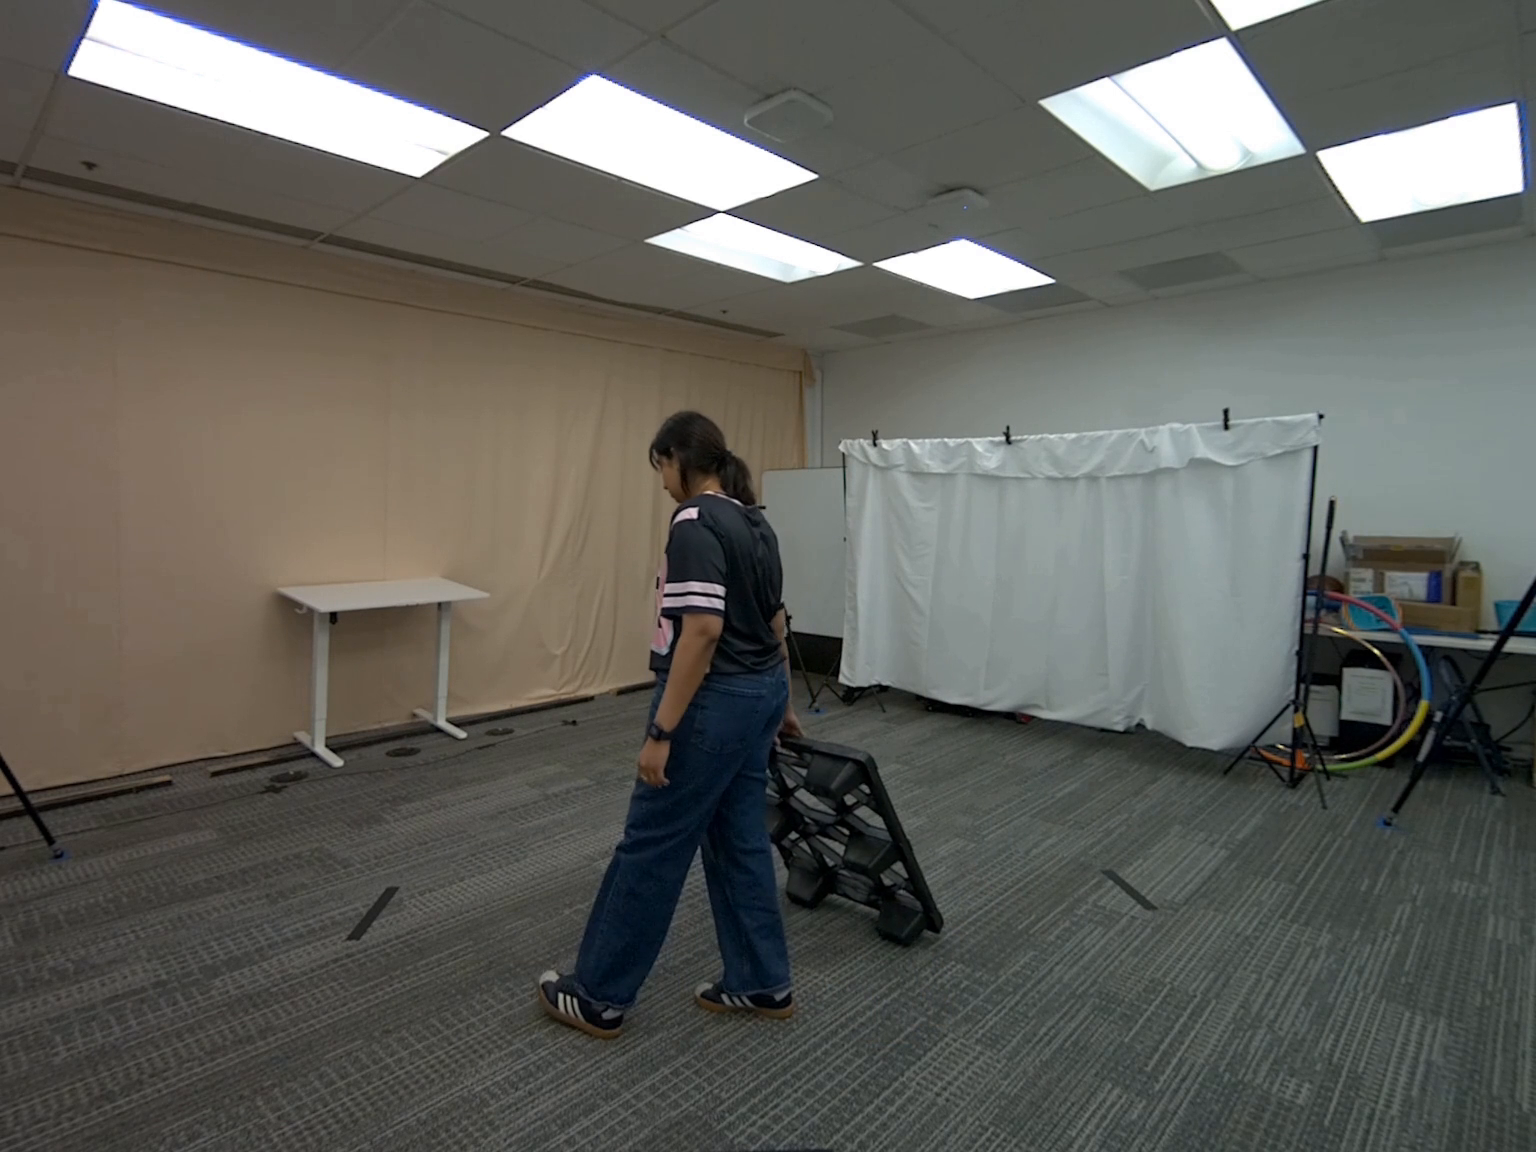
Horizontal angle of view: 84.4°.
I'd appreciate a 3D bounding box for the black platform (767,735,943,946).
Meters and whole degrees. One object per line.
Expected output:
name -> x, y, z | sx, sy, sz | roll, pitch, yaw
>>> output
black platform -> 0.167, 0.825, 2.676 | 0.625, 0.786, 0.142 | 4, 38, 42
